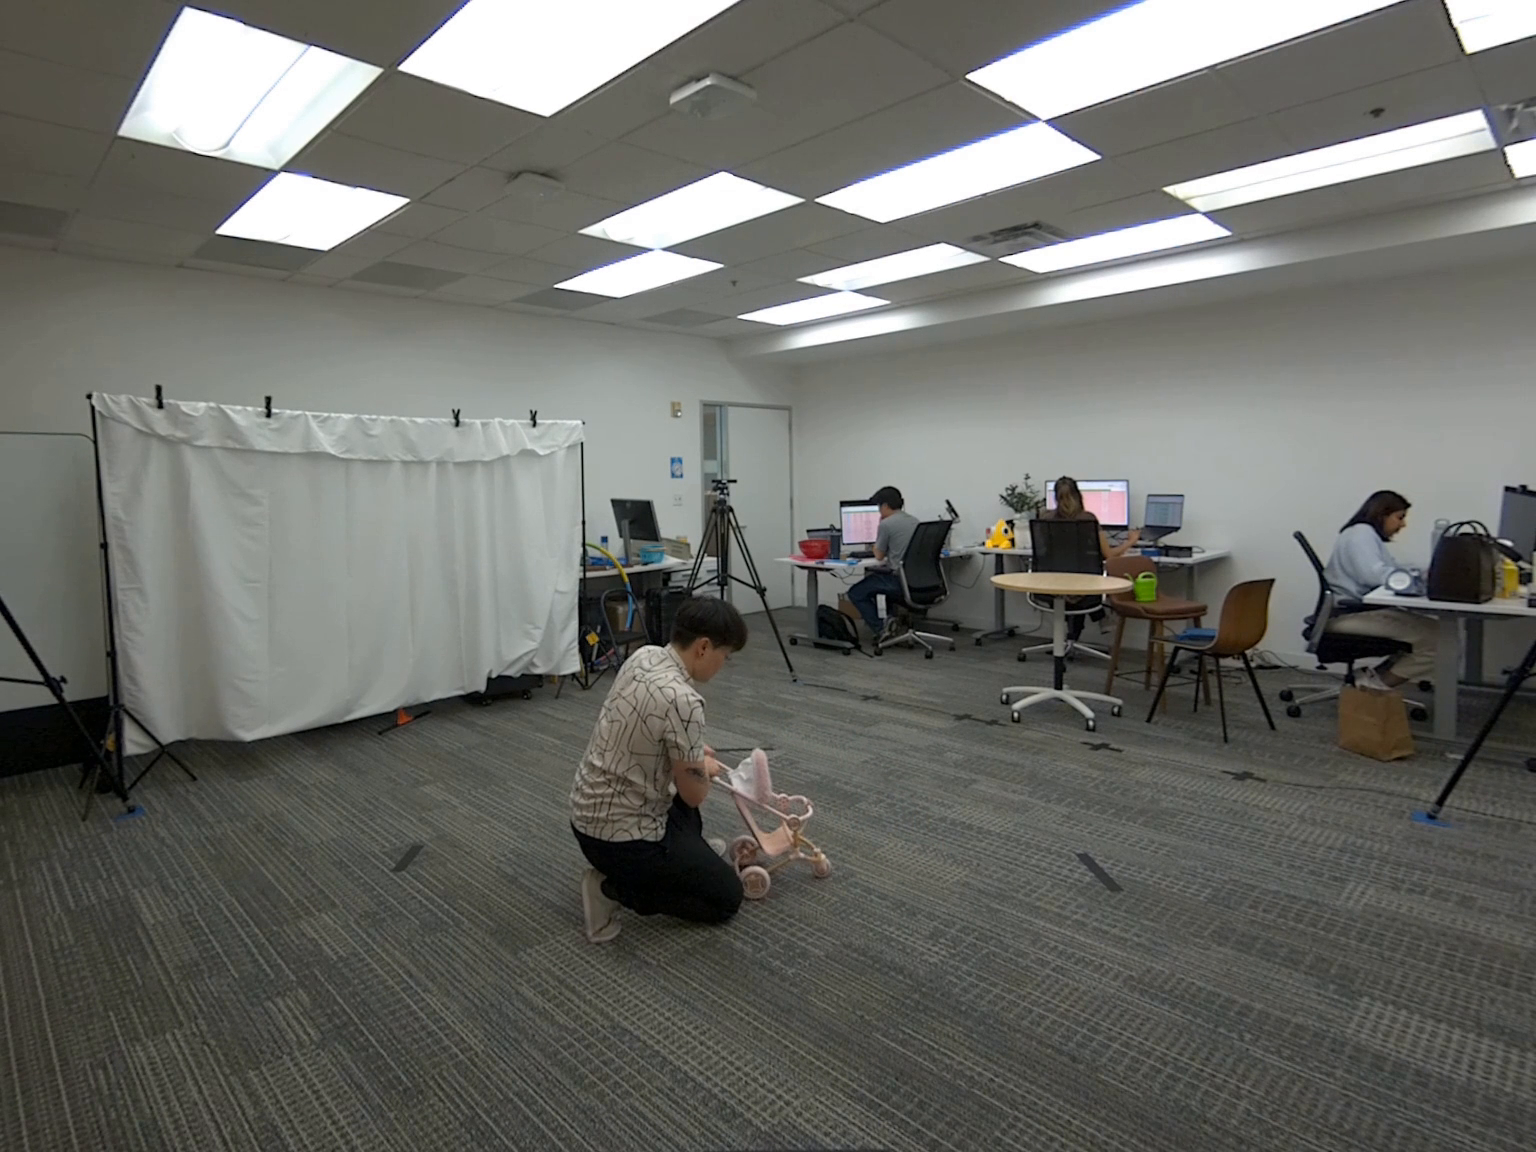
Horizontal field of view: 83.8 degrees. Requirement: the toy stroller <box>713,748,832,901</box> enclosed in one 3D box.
[{"bbox_3d":[0.003,0.834,2.959,0.341,0.532,0.283,-17,5,-2],"label":"toy stroller"}]
